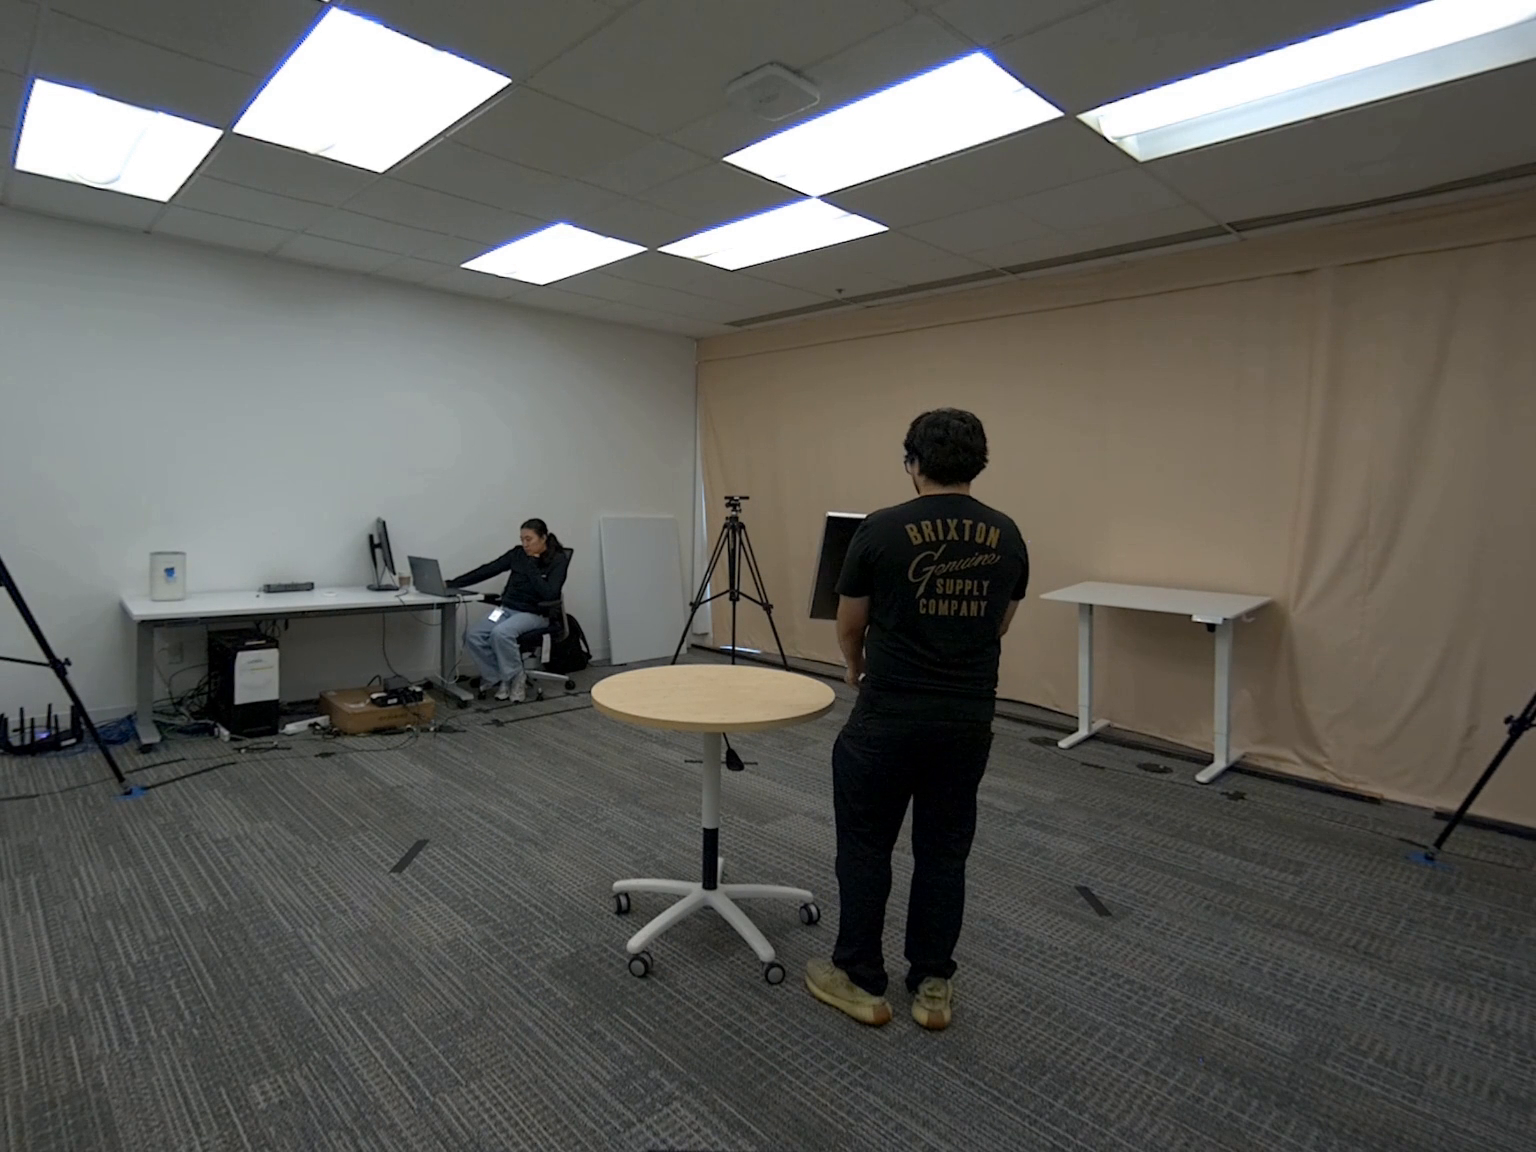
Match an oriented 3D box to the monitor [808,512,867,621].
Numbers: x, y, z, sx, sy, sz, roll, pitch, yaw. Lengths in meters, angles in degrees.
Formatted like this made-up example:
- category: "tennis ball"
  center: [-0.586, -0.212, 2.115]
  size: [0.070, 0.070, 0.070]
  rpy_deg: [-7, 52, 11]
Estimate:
- category: "monitor"
  center: [0.397, 0.104, 2.474]
  size: [0.562, 0.546, 0.214]
  rpy_deg: [5, 24, -6]
